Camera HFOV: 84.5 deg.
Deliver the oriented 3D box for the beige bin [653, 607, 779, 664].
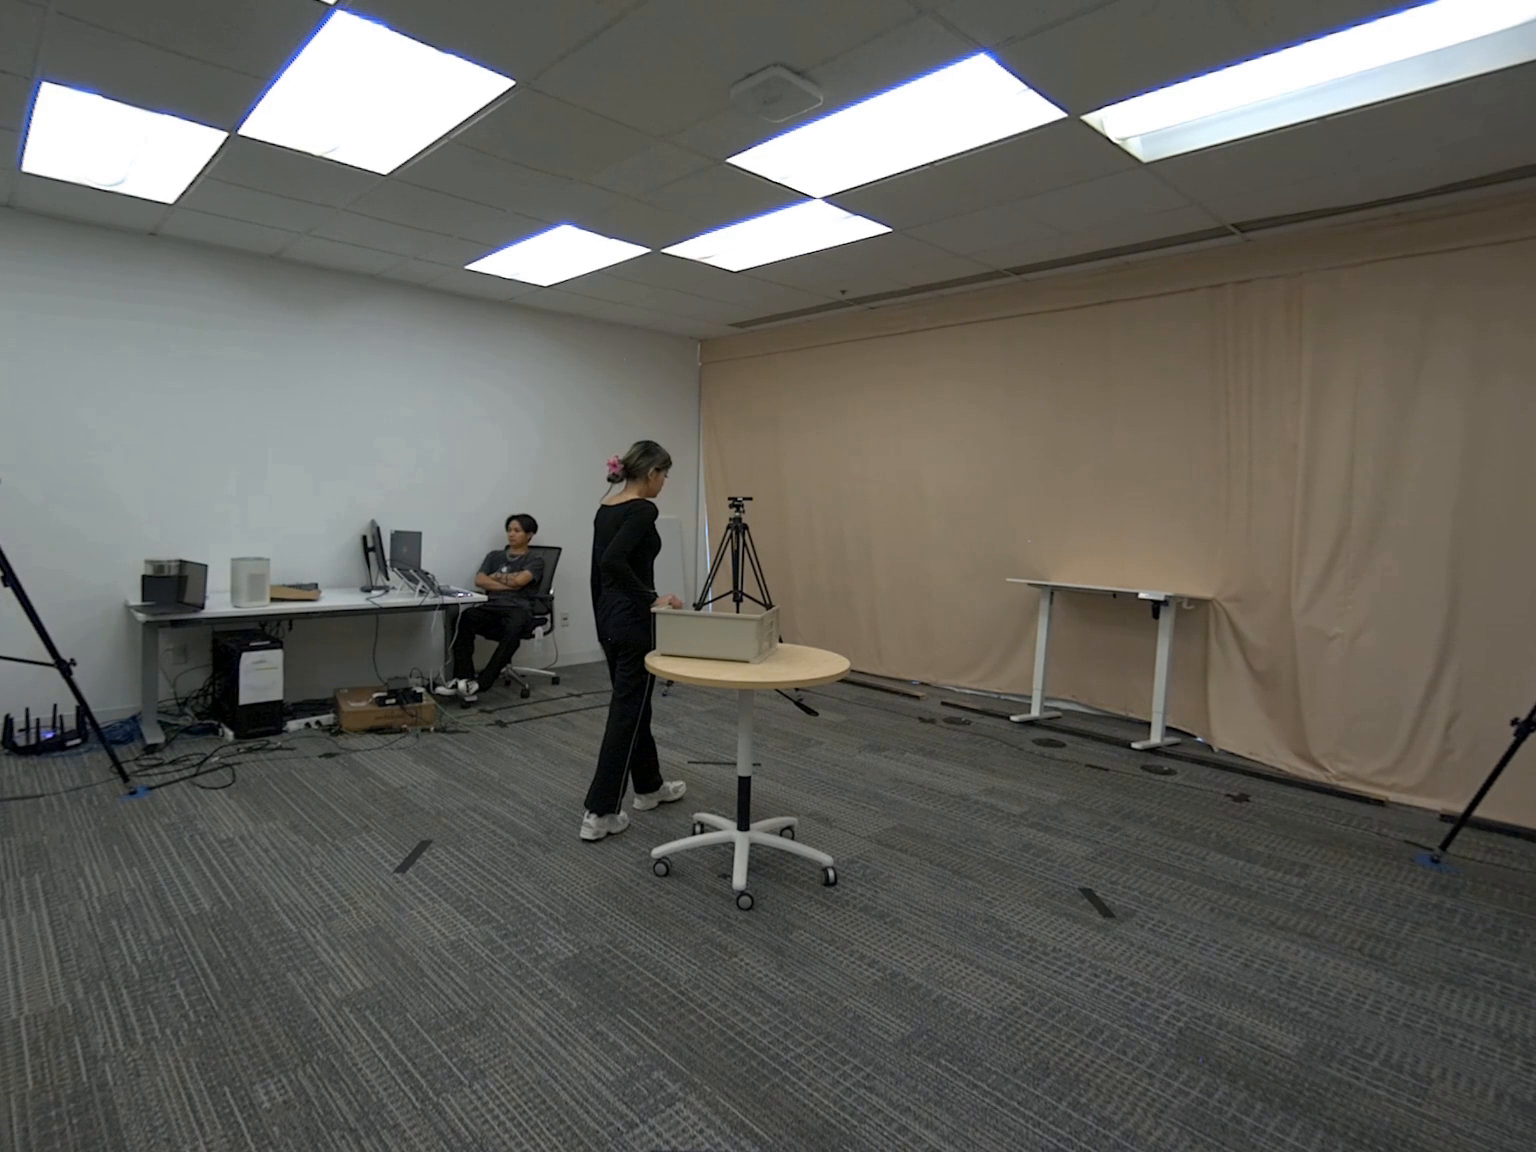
[{"bbox_3d":[-0.201,0.203,3.274,0.427,0.188,0.375,3,7,13],"label":"beige bin"}]
